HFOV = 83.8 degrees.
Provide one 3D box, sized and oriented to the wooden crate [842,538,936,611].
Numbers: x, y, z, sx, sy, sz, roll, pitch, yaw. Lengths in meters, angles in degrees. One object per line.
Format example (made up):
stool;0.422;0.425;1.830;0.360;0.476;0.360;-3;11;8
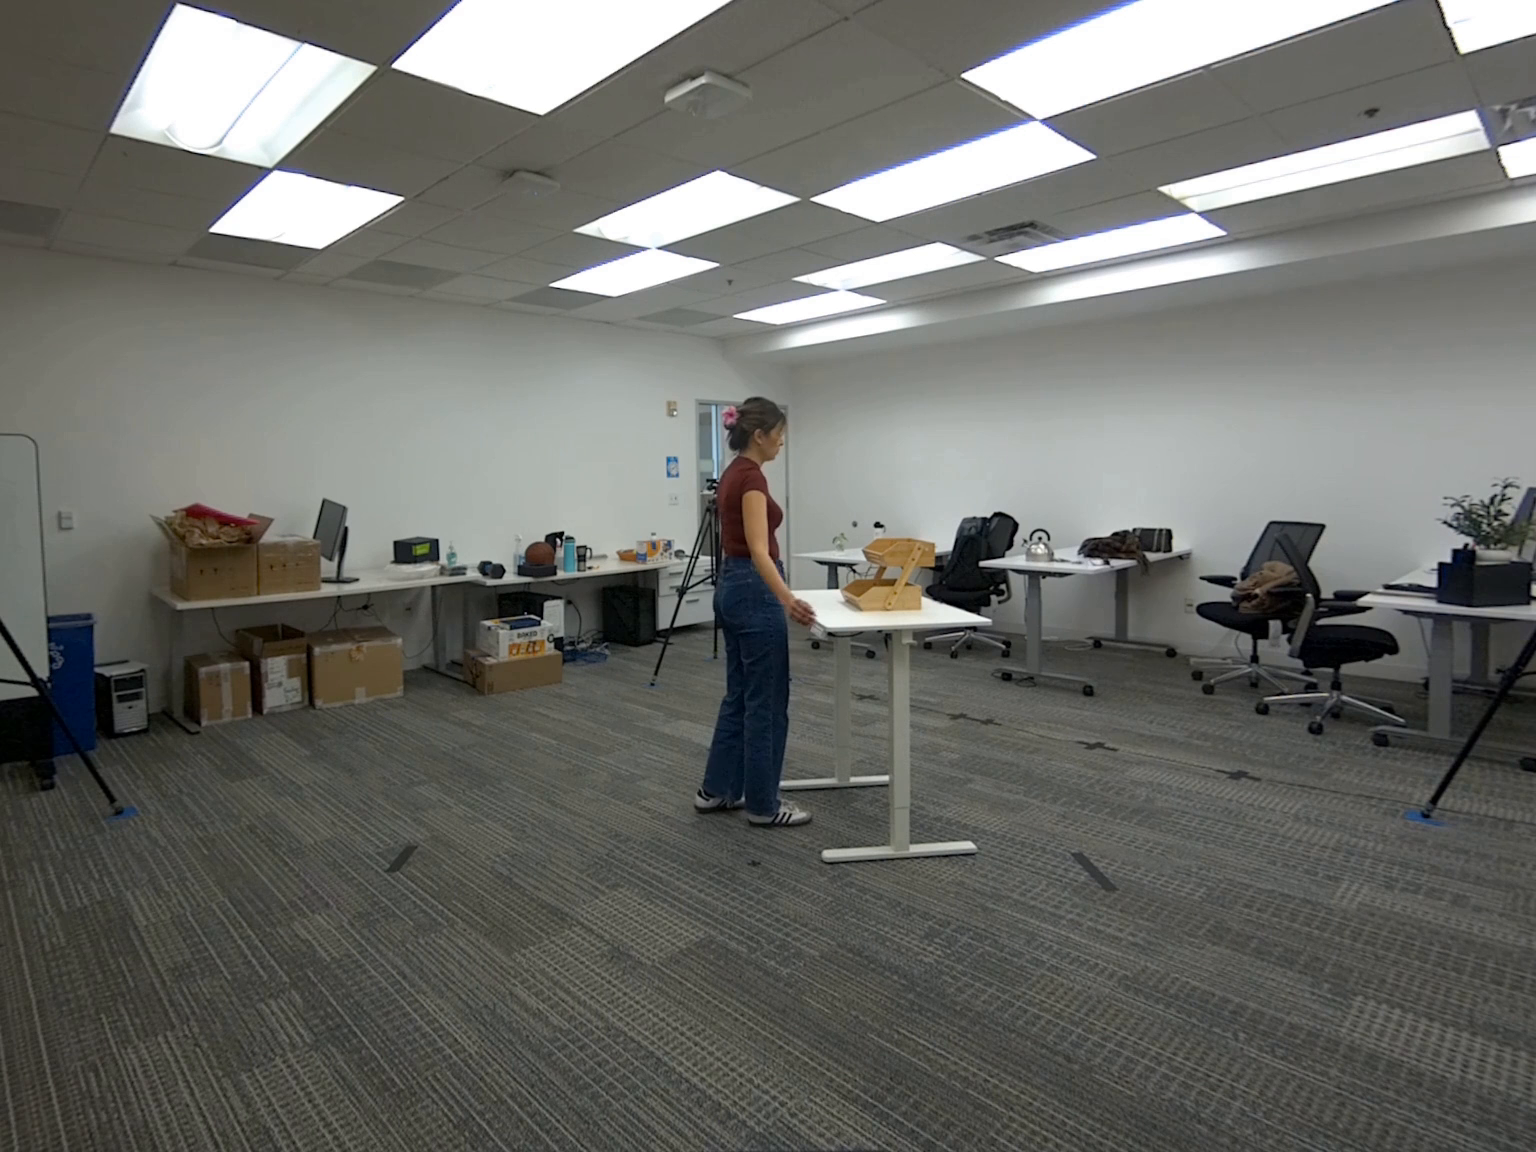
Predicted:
wooden crate;0.471;-0.012;3.418;0.300;0.272;0.328;-1;5;-7
